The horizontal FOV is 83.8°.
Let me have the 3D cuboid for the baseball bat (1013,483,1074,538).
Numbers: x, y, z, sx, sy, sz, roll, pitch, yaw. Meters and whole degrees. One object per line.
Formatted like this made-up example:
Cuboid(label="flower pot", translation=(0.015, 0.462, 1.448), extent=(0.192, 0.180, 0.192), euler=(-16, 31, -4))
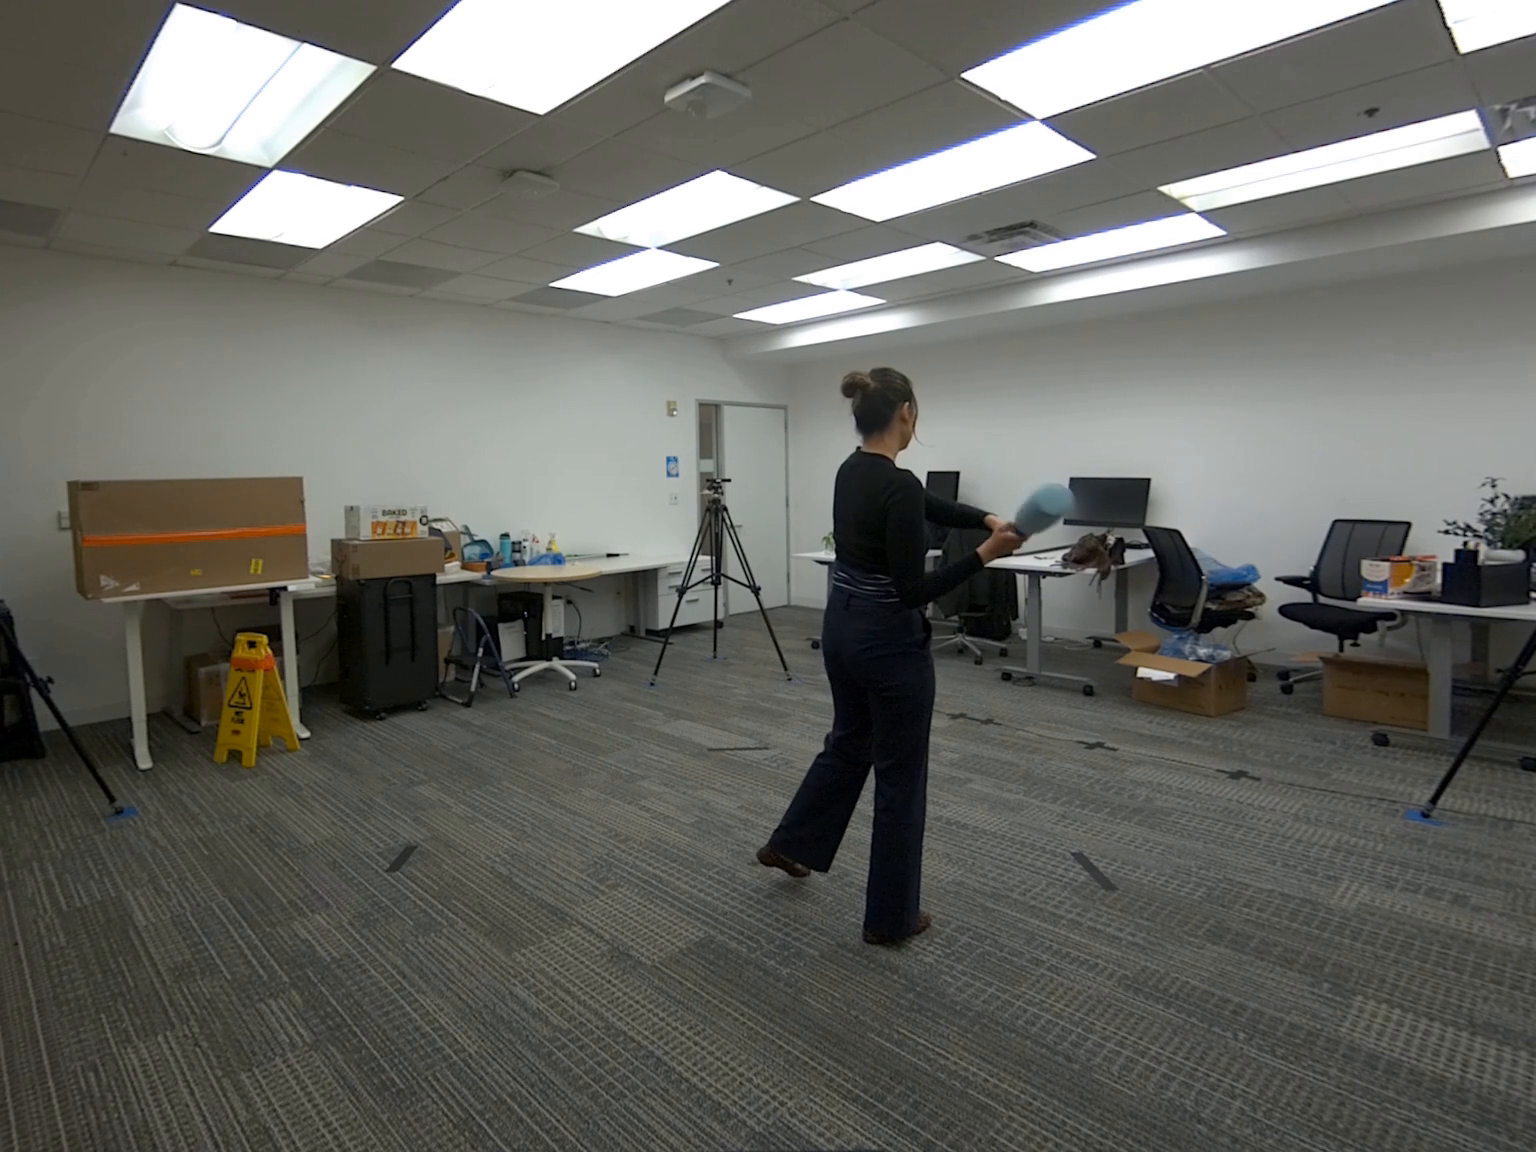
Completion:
Cuboid(label="baseball bat", translation=(0.648, -0.113, 2.191), extent=(0.089, 0.090, 0.535), euler=(0, -9, 4))
